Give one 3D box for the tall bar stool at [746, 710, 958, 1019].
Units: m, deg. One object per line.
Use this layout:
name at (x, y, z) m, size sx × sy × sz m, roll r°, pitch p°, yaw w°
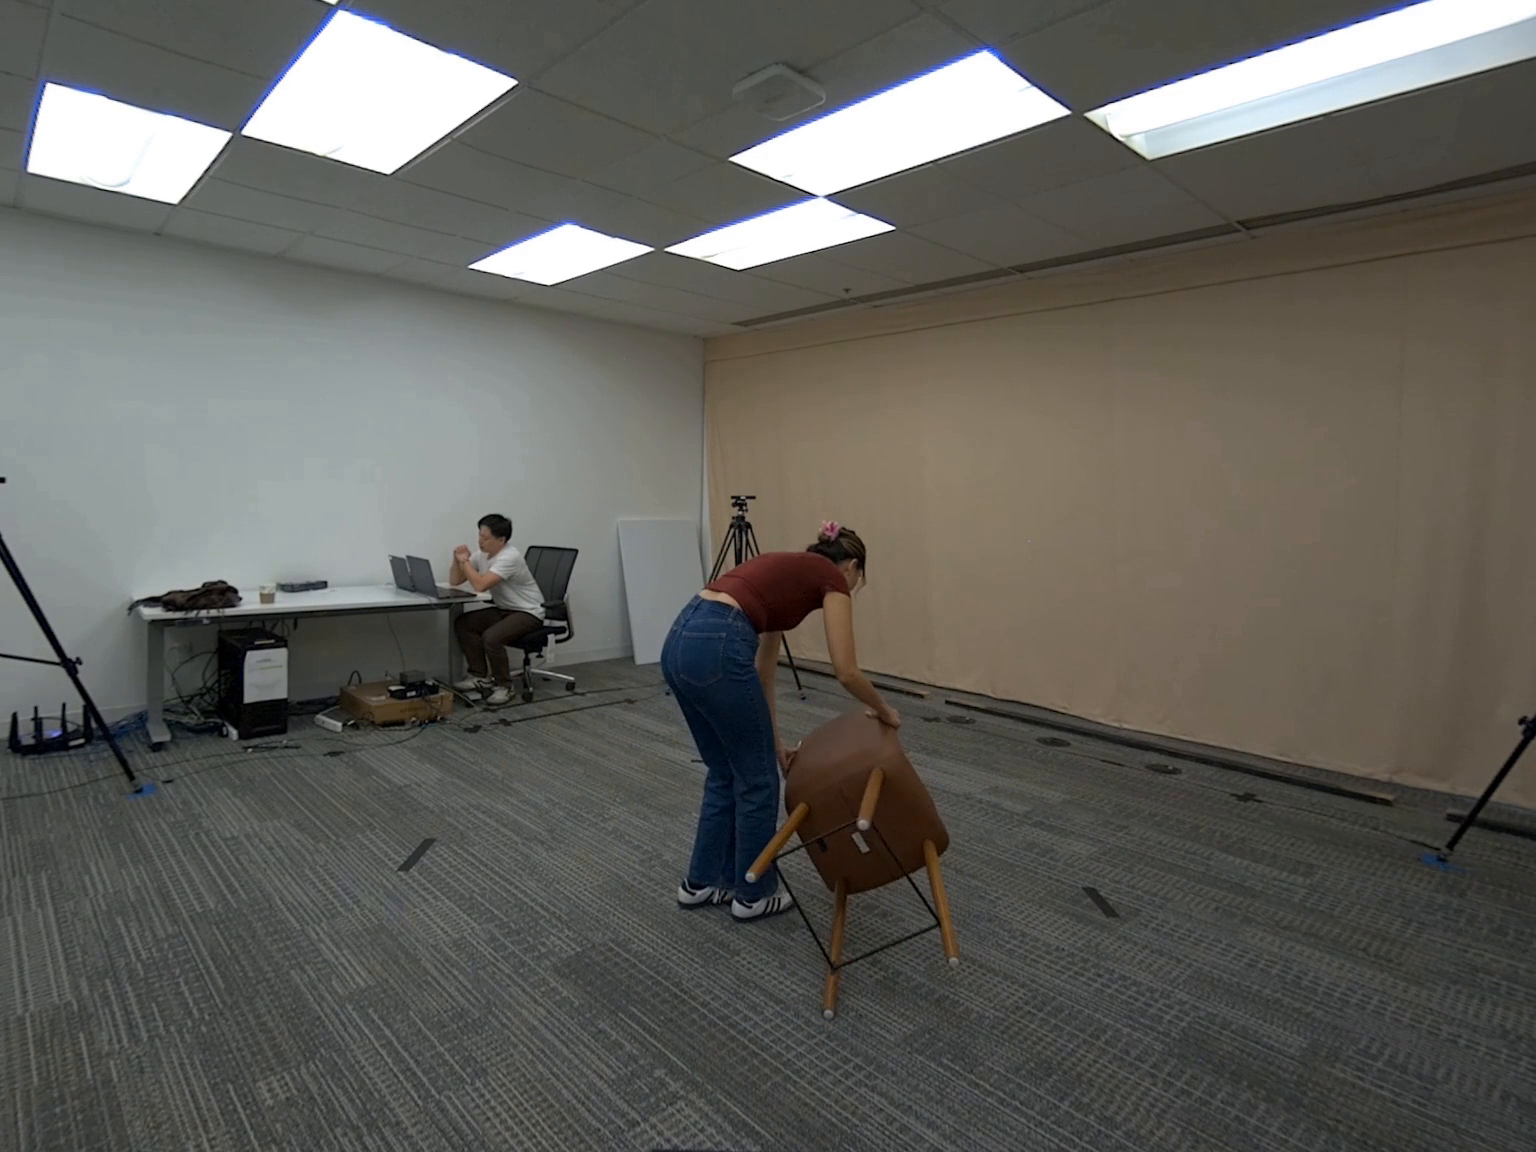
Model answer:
tall bar stool at (0.274, 0.812, 2.613) m, size 0.458 × 0.466 × 0.889 m, roll -32°, pitch 5°, yaw 15°
